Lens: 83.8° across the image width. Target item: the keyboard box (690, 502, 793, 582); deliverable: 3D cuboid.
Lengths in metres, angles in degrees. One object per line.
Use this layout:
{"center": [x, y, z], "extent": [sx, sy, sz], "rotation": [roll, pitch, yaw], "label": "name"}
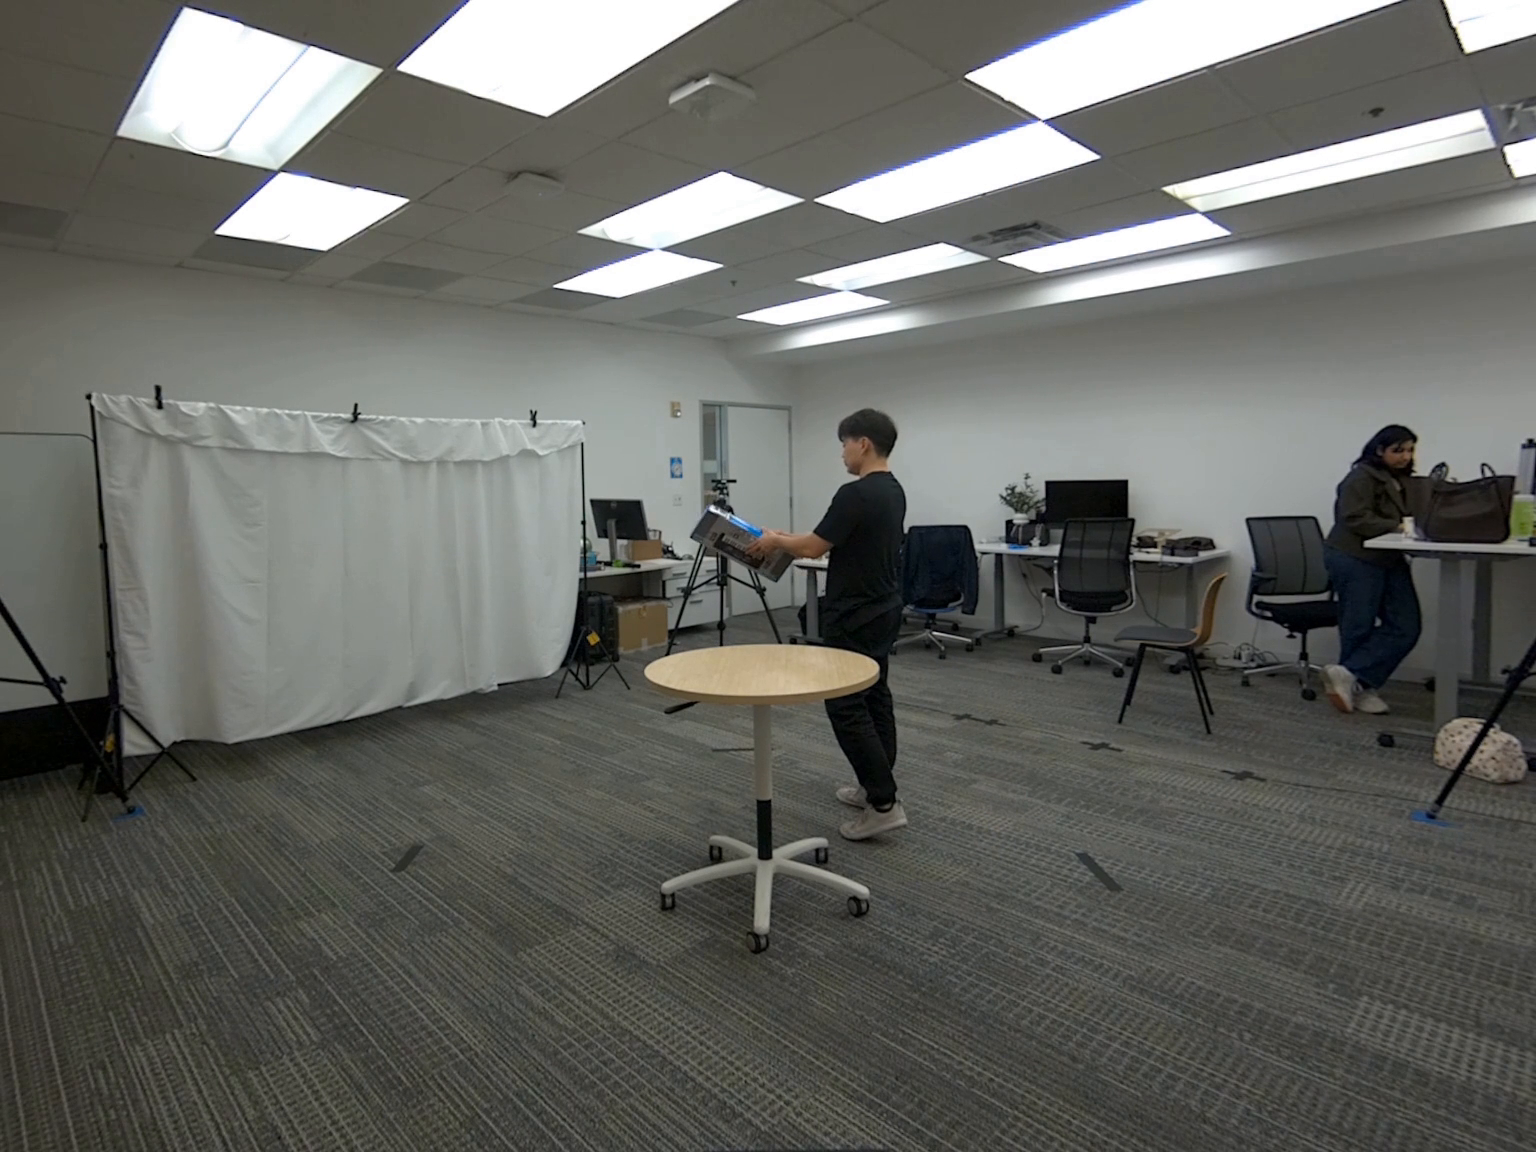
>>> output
{"center": [-0.099, -0.140, 3.704], "extent": [0.432, 0.175, 0.060], "rotation": [28, 31, -8], "label": "keyboard box"}
